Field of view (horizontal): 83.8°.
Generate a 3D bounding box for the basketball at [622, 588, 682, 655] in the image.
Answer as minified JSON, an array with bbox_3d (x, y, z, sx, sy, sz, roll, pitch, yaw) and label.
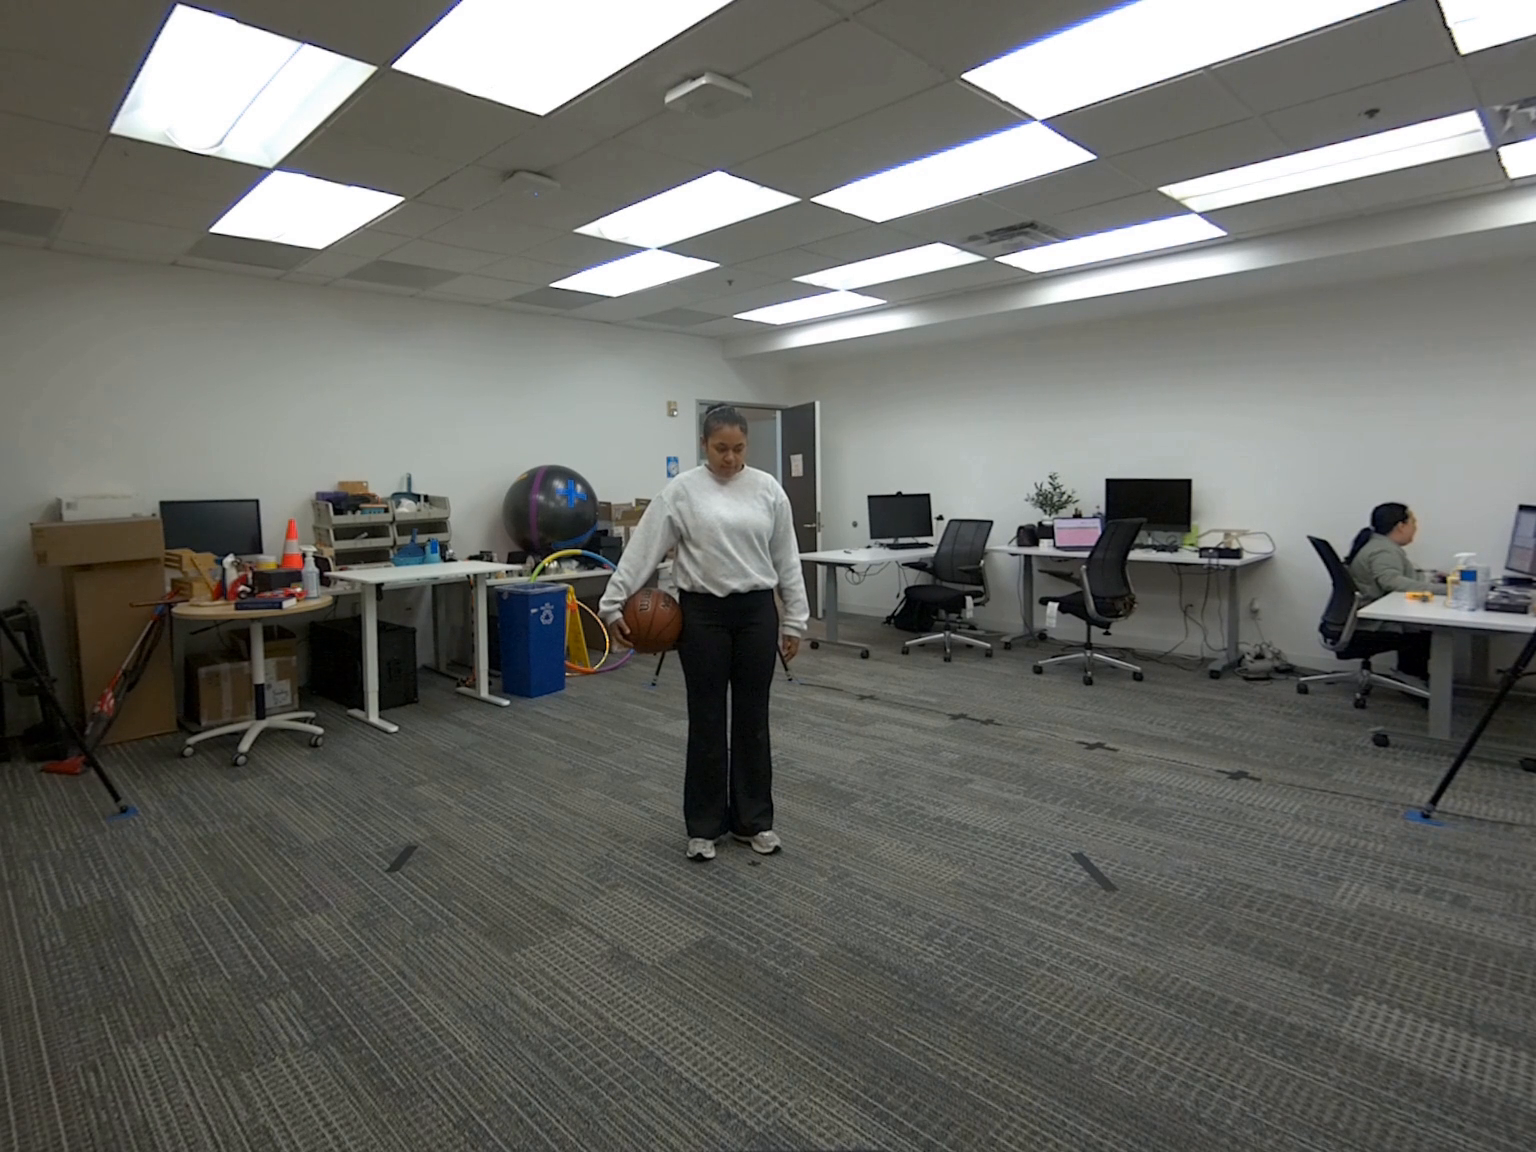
[{"bbox_3d":[-0.426,0.154,3.120,0.236,0.235,0.237,-1,5,-2],"label":"basketball"}]
